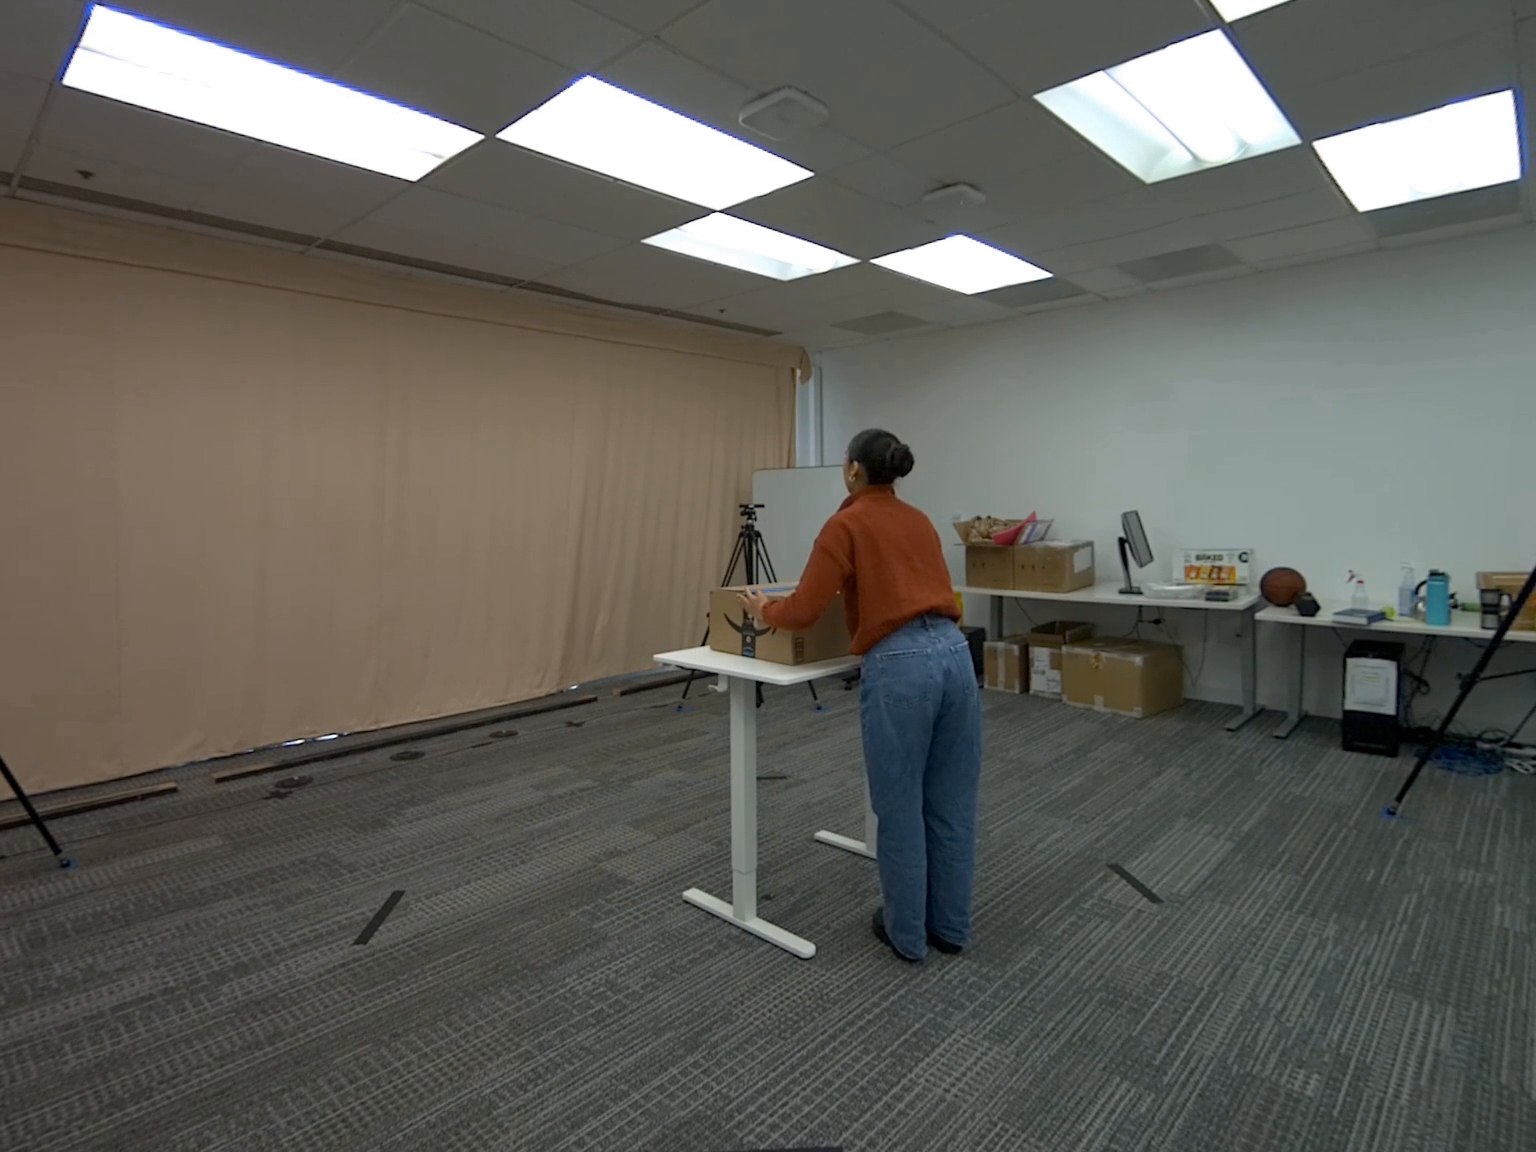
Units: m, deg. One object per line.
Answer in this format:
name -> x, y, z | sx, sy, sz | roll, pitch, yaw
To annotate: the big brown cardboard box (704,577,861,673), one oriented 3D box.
big brown cardboard box -> 0.139, 0.147, 2.988 | 0.572, 0.232, 0.431 | -6, 7, -40
